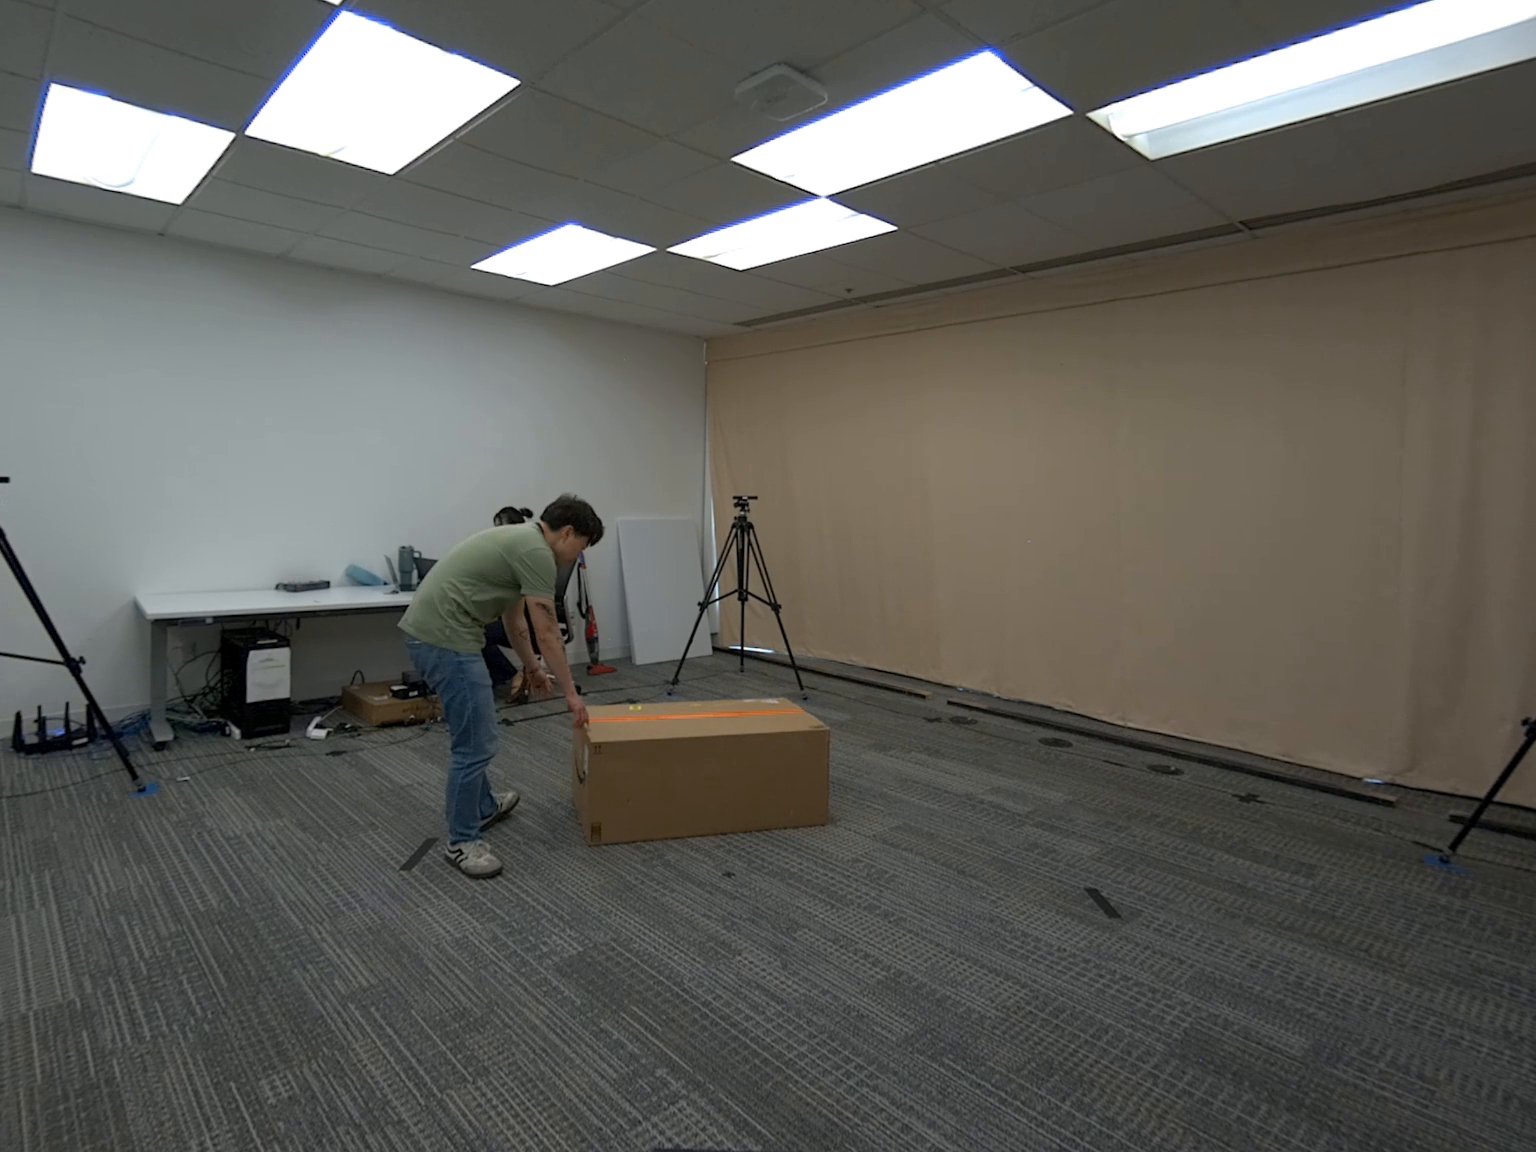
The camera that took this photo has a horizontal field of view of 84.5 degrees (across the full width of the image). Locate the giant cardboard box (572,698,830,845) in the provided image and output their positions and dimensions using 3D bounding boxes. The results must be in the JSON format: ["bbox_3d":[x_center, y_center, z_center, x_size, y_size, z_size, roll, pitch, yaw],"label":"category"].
[{"bbox_3d":[-0.320,0.826,3.721,1.012,0.425,0.587,0,4,-18],"label":"giant cardboard box"}]
